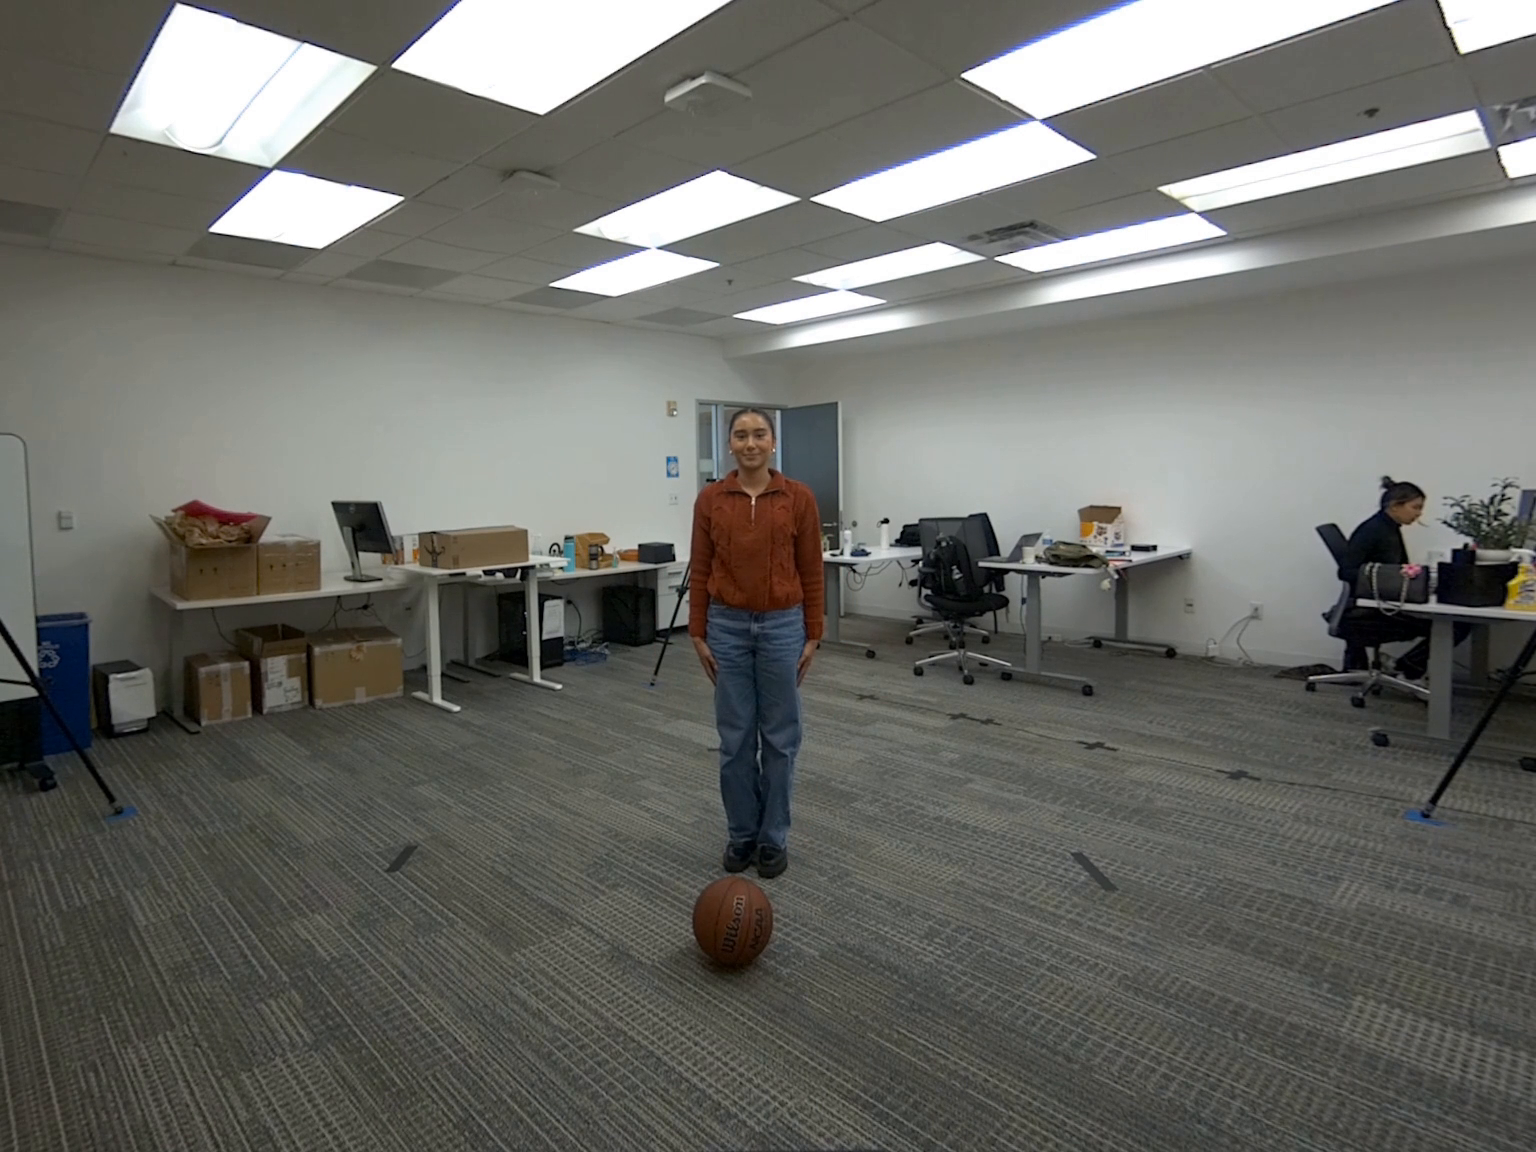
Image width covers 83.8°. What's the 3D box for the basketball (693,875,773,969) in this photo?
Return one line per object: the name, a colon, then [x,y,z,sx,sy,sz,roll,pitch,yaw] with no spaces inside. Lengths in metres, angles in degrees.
basketball: [-0.099,1.001,2.482,0.236,0.235,0.237,-1,5,-2]
